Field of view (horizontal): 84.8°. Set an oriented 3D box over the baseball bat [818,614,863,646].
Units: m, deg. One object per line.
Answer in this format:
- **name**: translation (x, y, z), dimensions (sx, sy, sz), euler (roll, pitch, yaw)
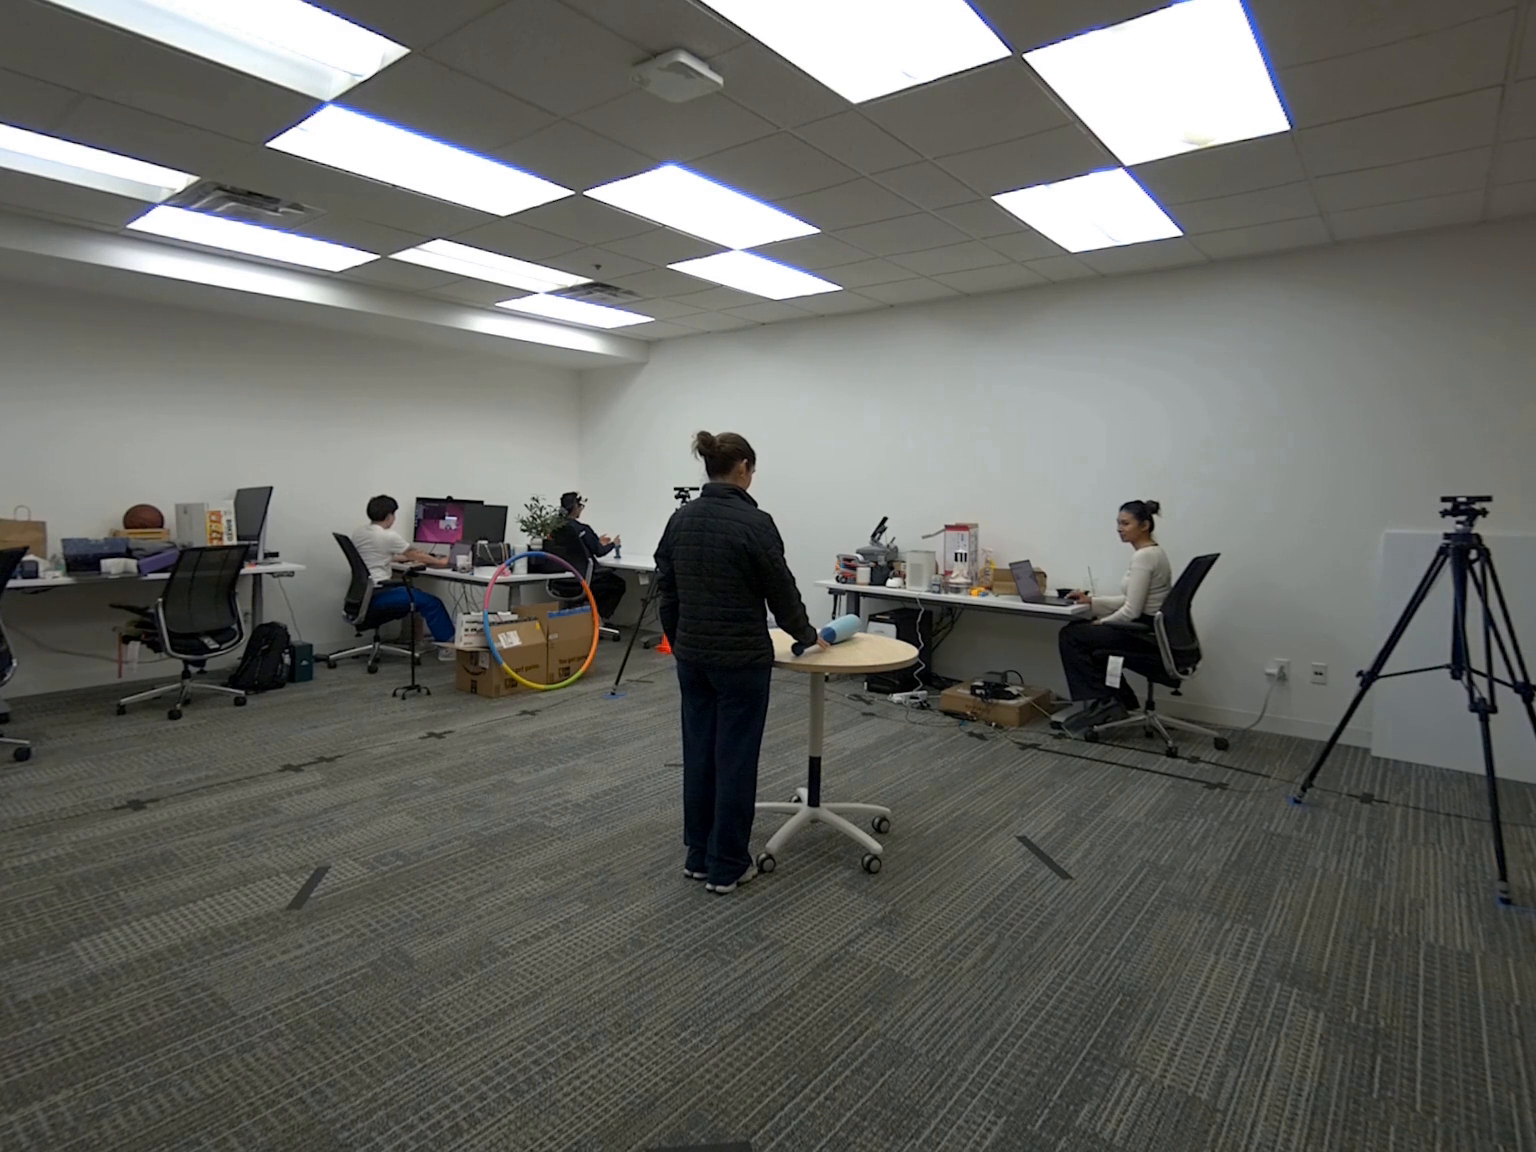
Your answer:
- **baseball bat**: translation (0.246, 0.233, 3.338), dimensions (0.091, 0.088, 0.531), euler (3, 9, 29)
